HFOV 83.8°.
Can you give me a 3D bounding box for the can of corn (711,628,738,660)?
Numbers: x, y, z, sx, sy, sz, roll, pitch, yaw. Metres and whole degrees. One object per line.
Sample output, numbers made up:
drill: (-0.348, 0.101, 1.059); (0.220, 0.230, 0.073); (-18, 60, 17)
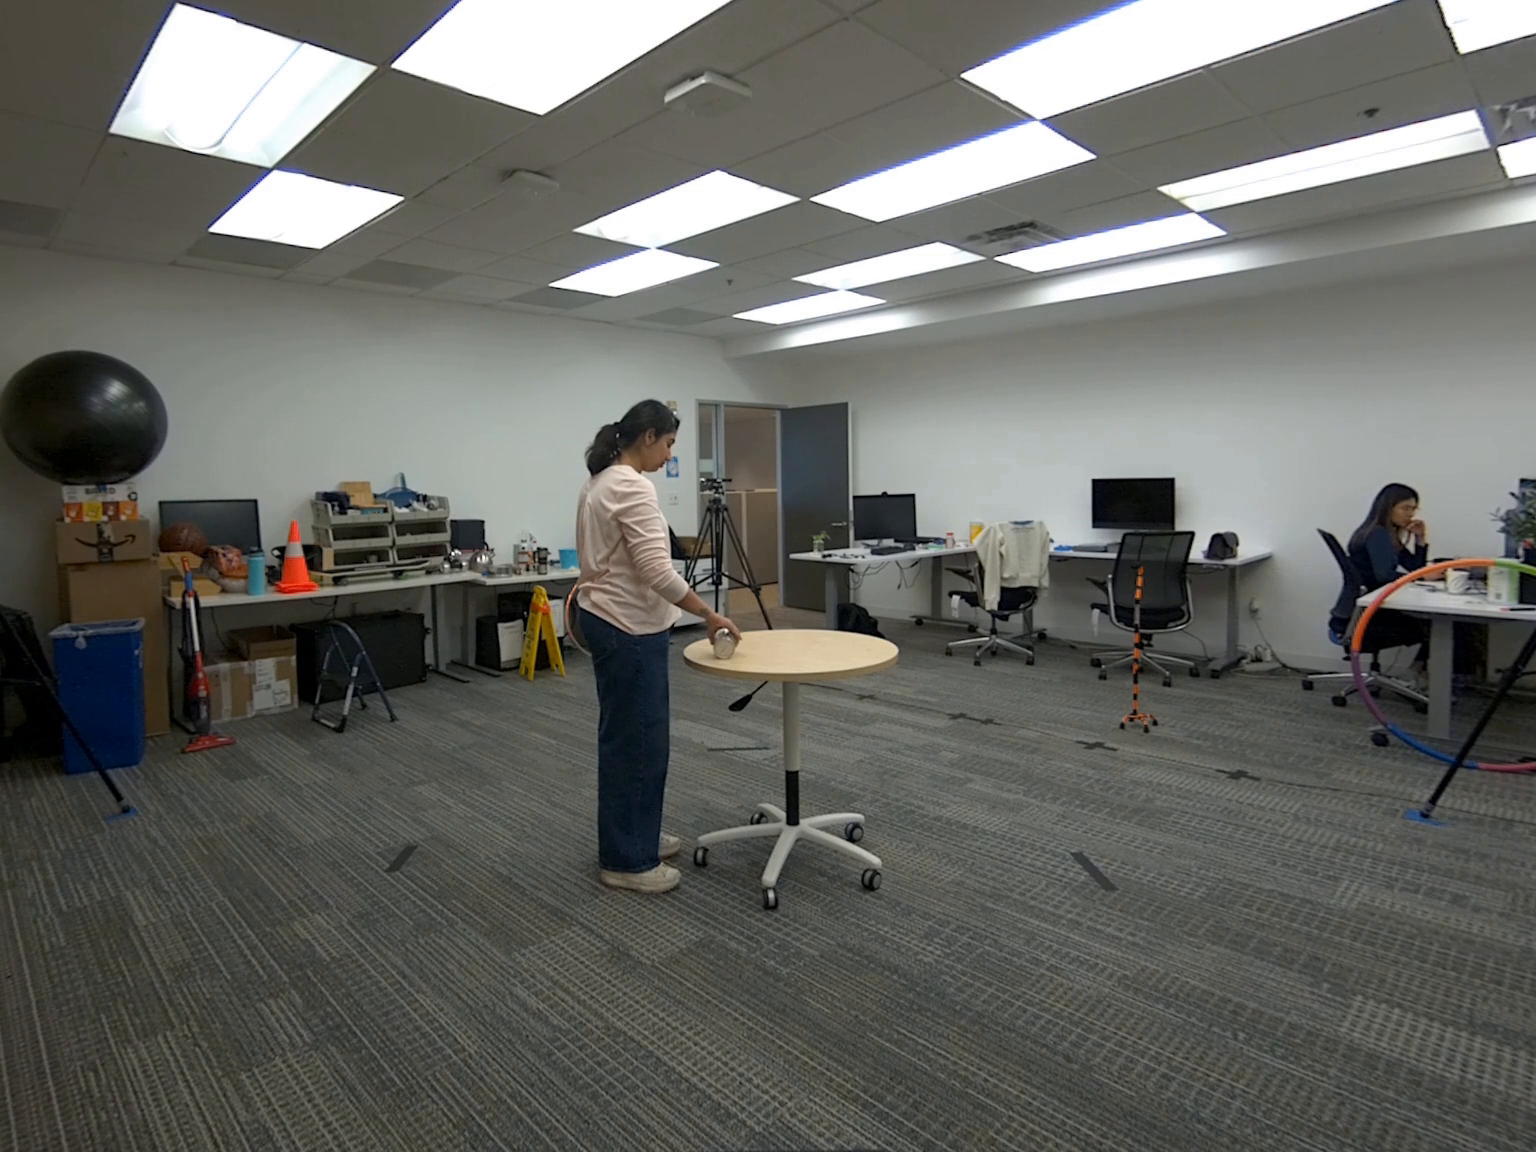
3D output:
can of corn: (-0.150, 0.234, 2.967); (0.074, 0.073, 0.112); (-1, 9, -2)
